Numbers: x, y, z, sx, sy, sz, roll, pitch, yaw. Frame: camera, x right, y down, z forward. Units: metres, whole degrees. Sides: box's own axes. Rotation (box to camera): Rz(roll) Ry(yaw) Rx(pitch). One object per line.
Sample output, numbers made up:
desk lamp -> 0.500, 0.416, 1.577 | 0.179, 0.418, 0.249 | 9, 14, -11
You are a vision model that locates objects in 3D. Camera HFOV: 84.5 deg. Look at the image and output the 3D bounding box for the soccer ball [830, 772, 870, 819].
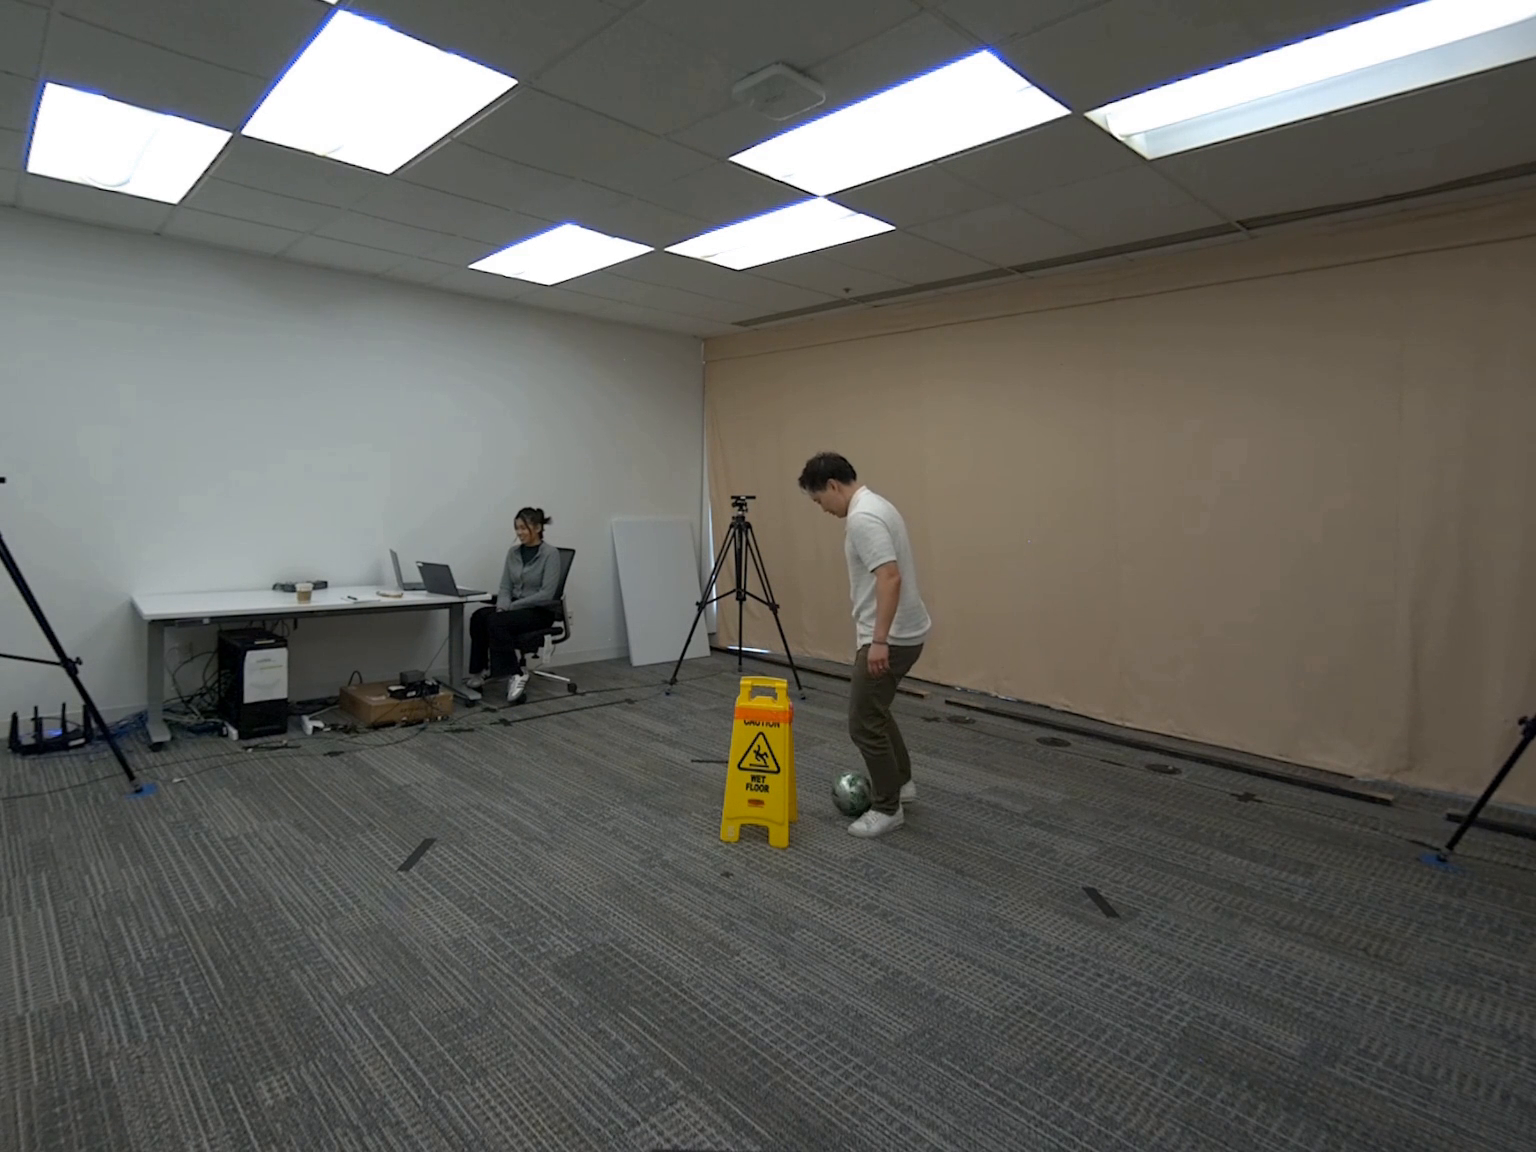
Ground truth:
soccer ball -> 0.360, 0.966, 3.739 | 0.187, 0.187, 0.188 | 1, 4, -1
